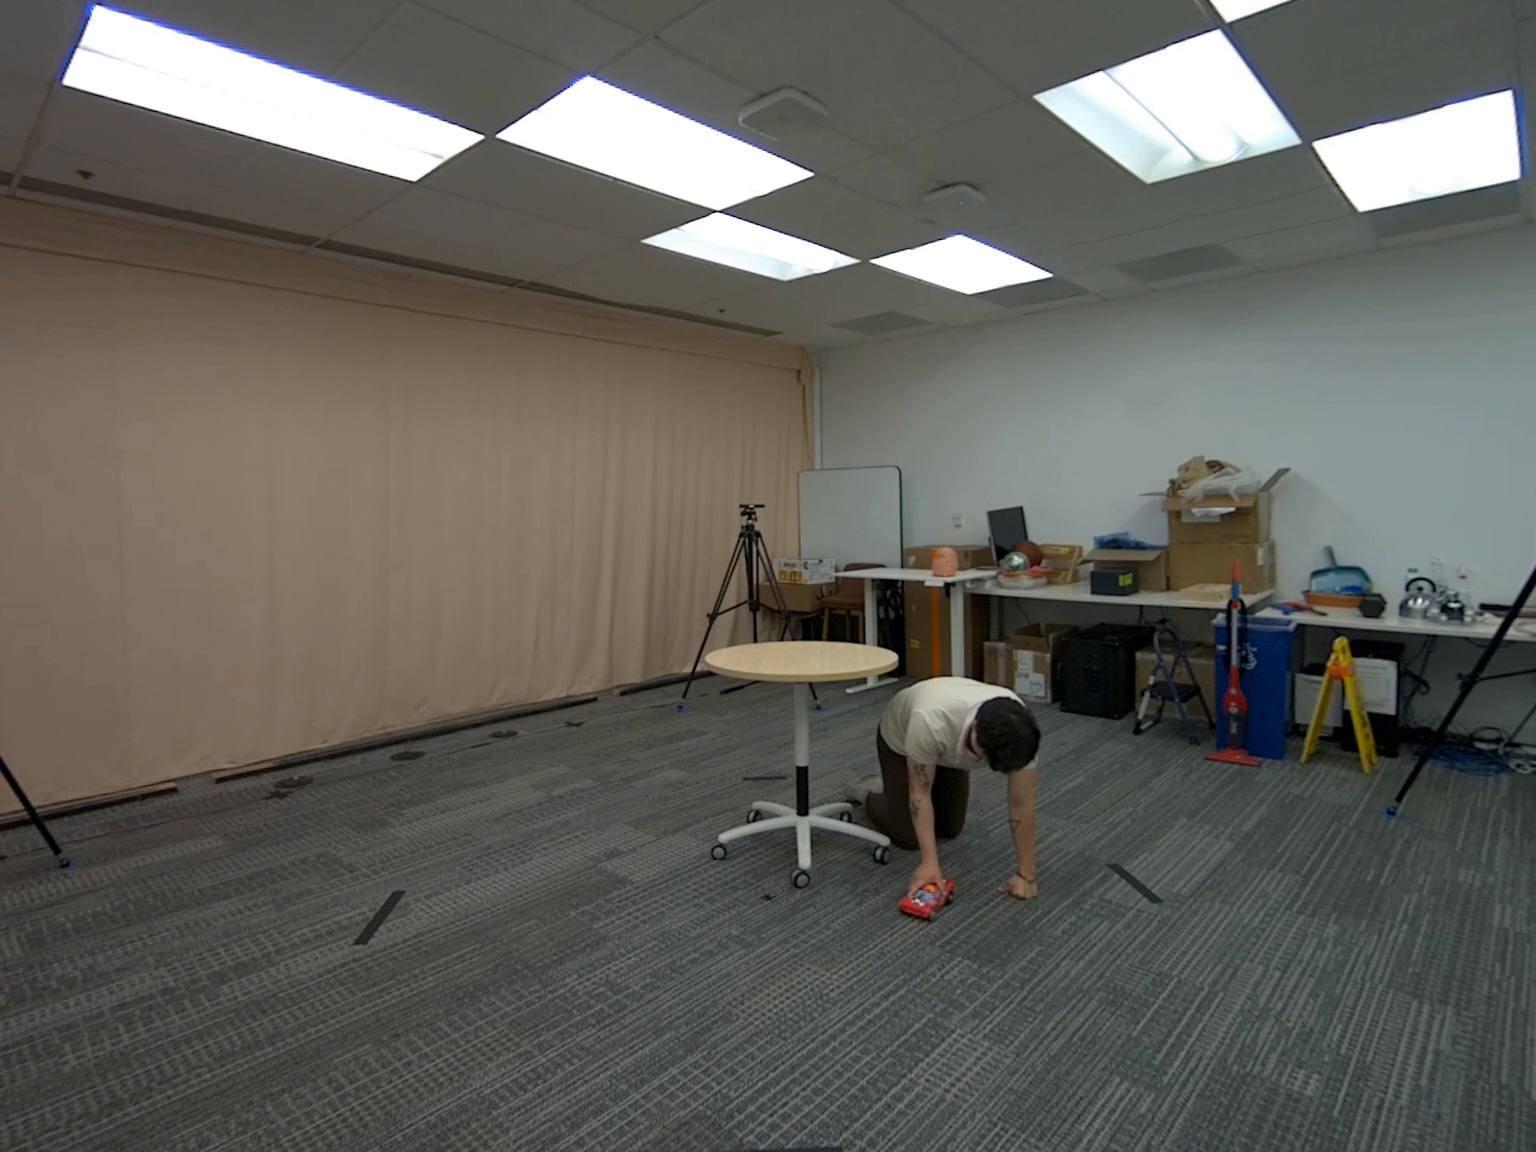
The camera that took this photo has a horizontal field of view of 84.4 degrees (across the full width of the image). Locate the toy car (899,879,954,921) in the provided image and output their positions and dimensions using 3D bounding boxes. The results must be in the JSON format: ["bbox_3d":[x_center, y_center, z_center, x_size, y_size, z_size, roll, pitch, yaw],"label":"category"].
[{"bbox_3d":[0.558,1.105,2.903,0.134,0.082,0.249,1,16,37],"label":"toy car"}]
